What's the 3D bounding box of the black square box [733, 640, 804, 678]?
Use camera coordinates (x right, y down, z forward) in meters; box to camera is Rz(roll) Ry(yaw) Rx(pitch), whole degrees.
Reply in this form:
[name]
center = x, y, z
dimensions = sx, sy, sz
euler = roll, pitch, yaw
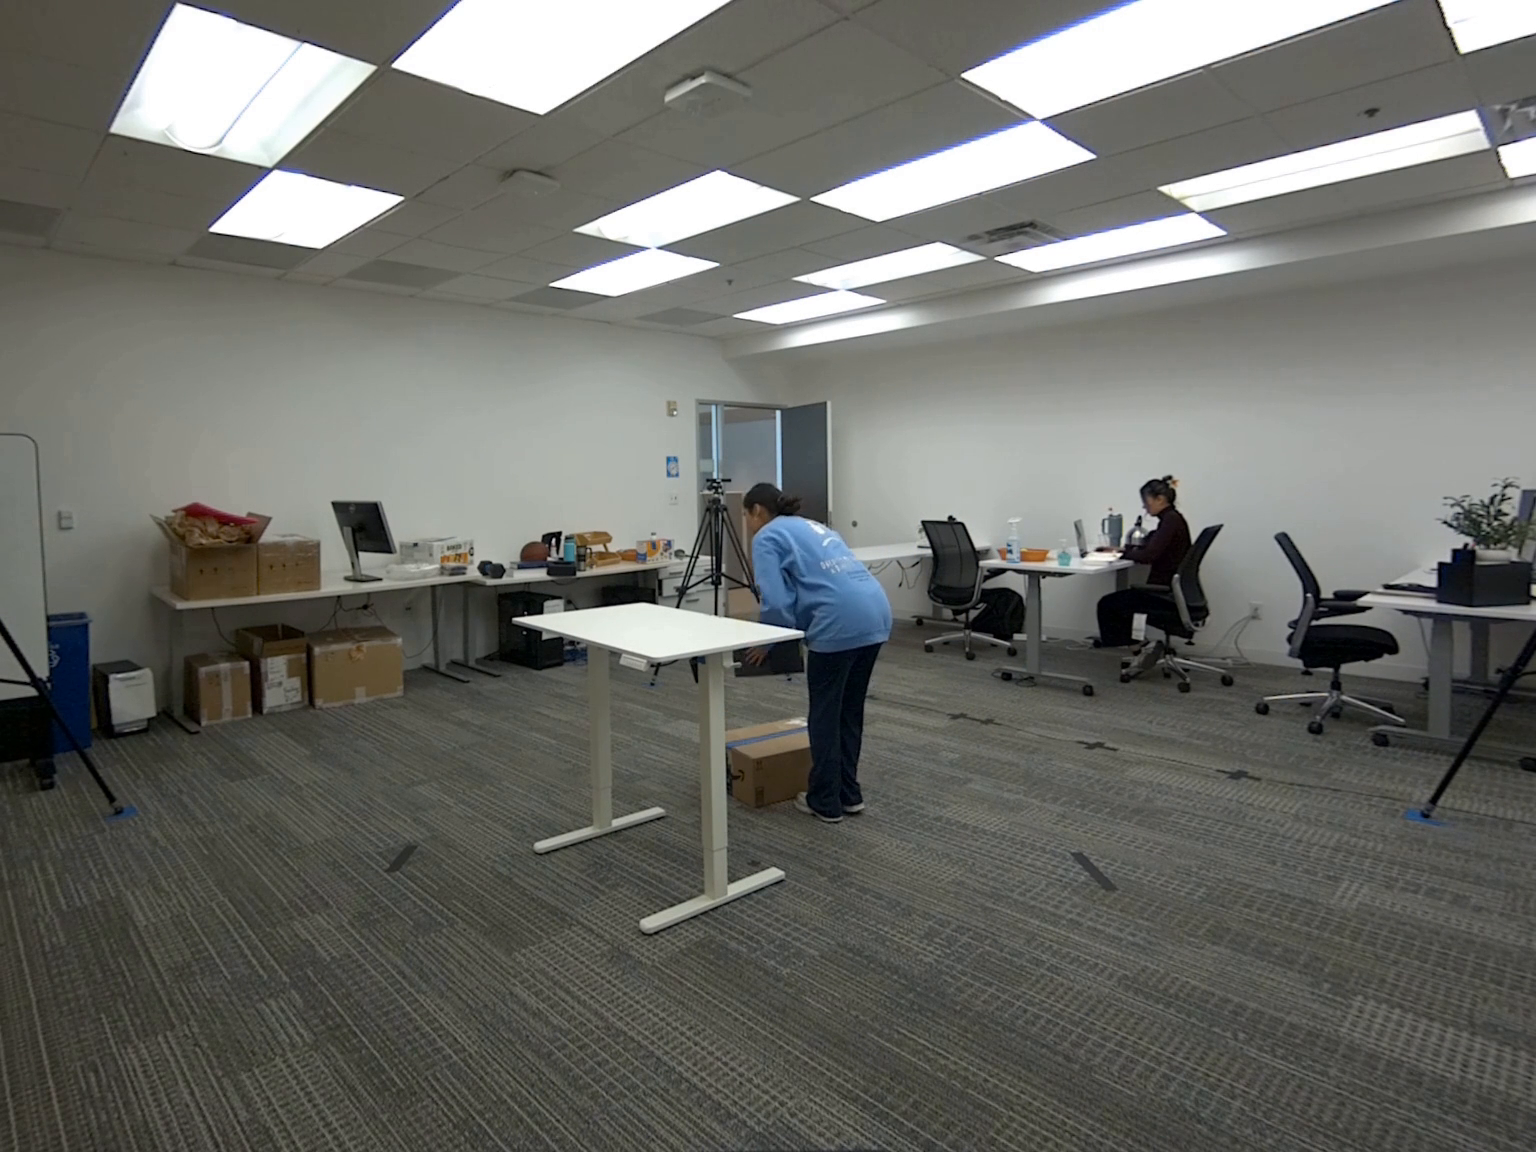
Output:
[black square box]
center = 0.004, 0.358, 3.766
dimensions = 0.233, 0.157, 0.210
euler = -11, -9, 44
